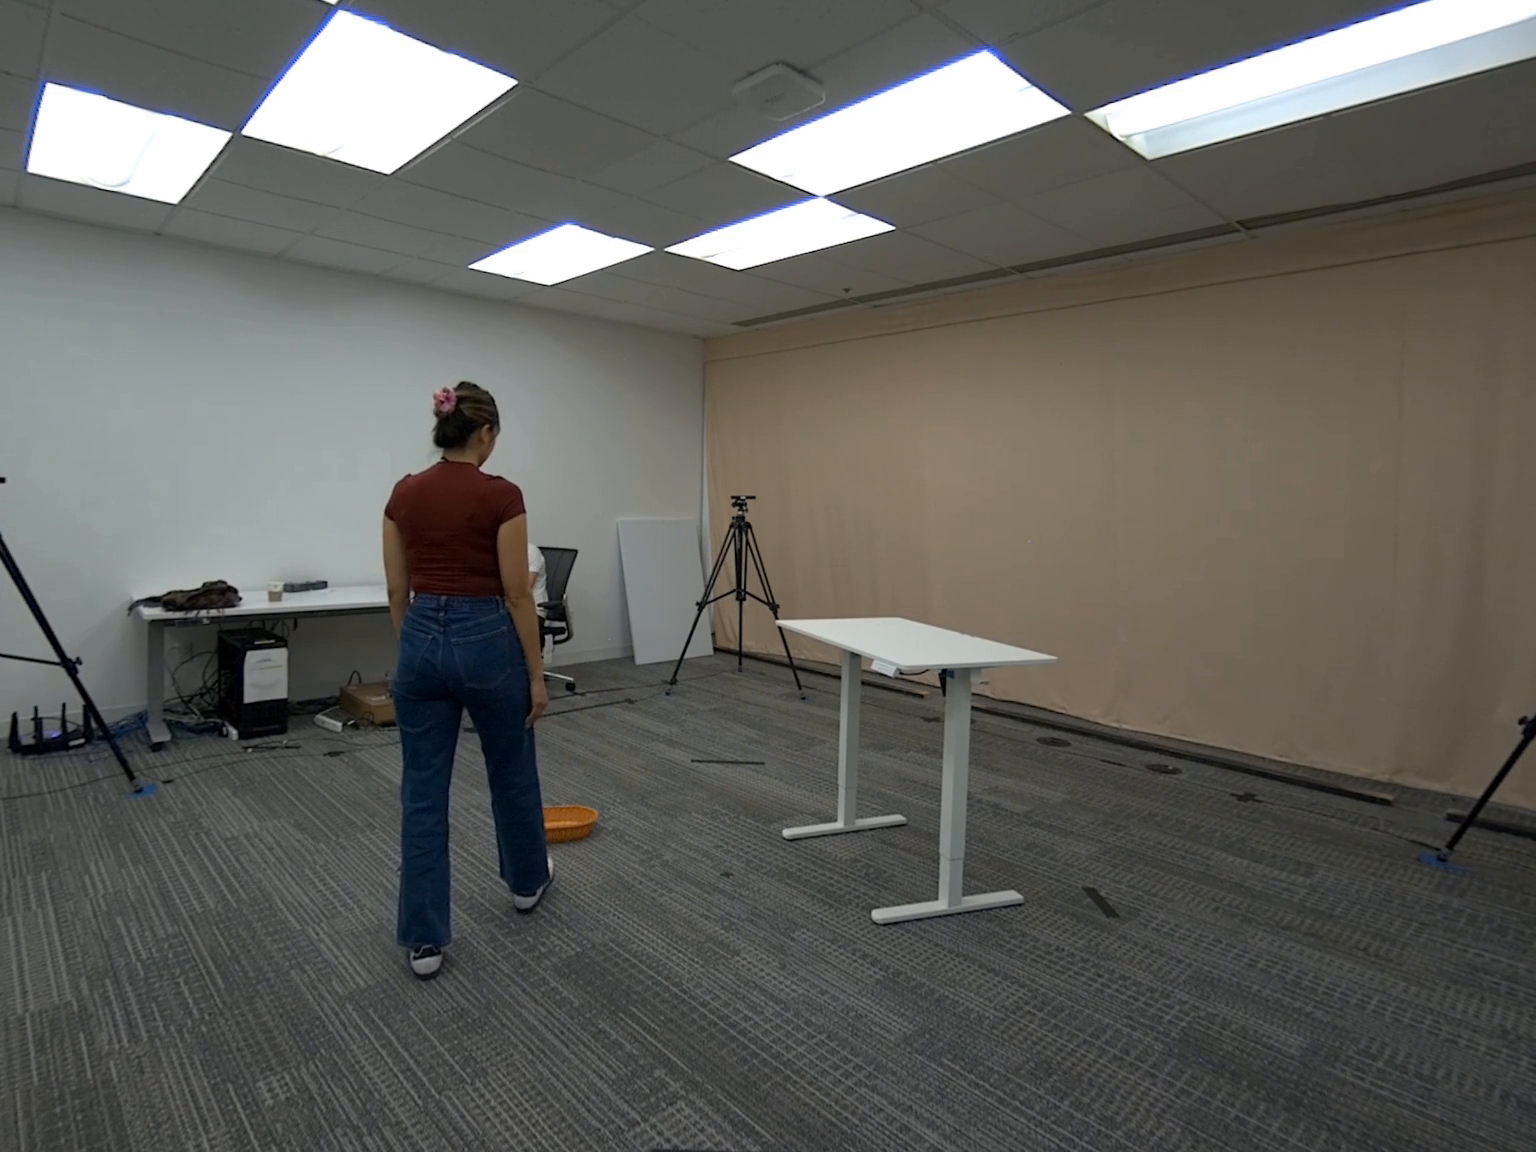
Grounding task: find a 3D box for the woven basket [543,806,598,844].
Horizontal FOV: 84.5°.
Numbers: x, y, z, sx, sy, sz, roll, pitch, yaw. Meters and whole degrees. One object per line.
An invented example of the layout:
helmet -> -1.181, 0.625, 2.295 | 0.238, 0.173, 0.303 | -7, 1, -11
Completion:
woven basket -> -0.878, 1.017, 3.445 | 0.346, 0.073, 0.256 | 0, 5, -16
